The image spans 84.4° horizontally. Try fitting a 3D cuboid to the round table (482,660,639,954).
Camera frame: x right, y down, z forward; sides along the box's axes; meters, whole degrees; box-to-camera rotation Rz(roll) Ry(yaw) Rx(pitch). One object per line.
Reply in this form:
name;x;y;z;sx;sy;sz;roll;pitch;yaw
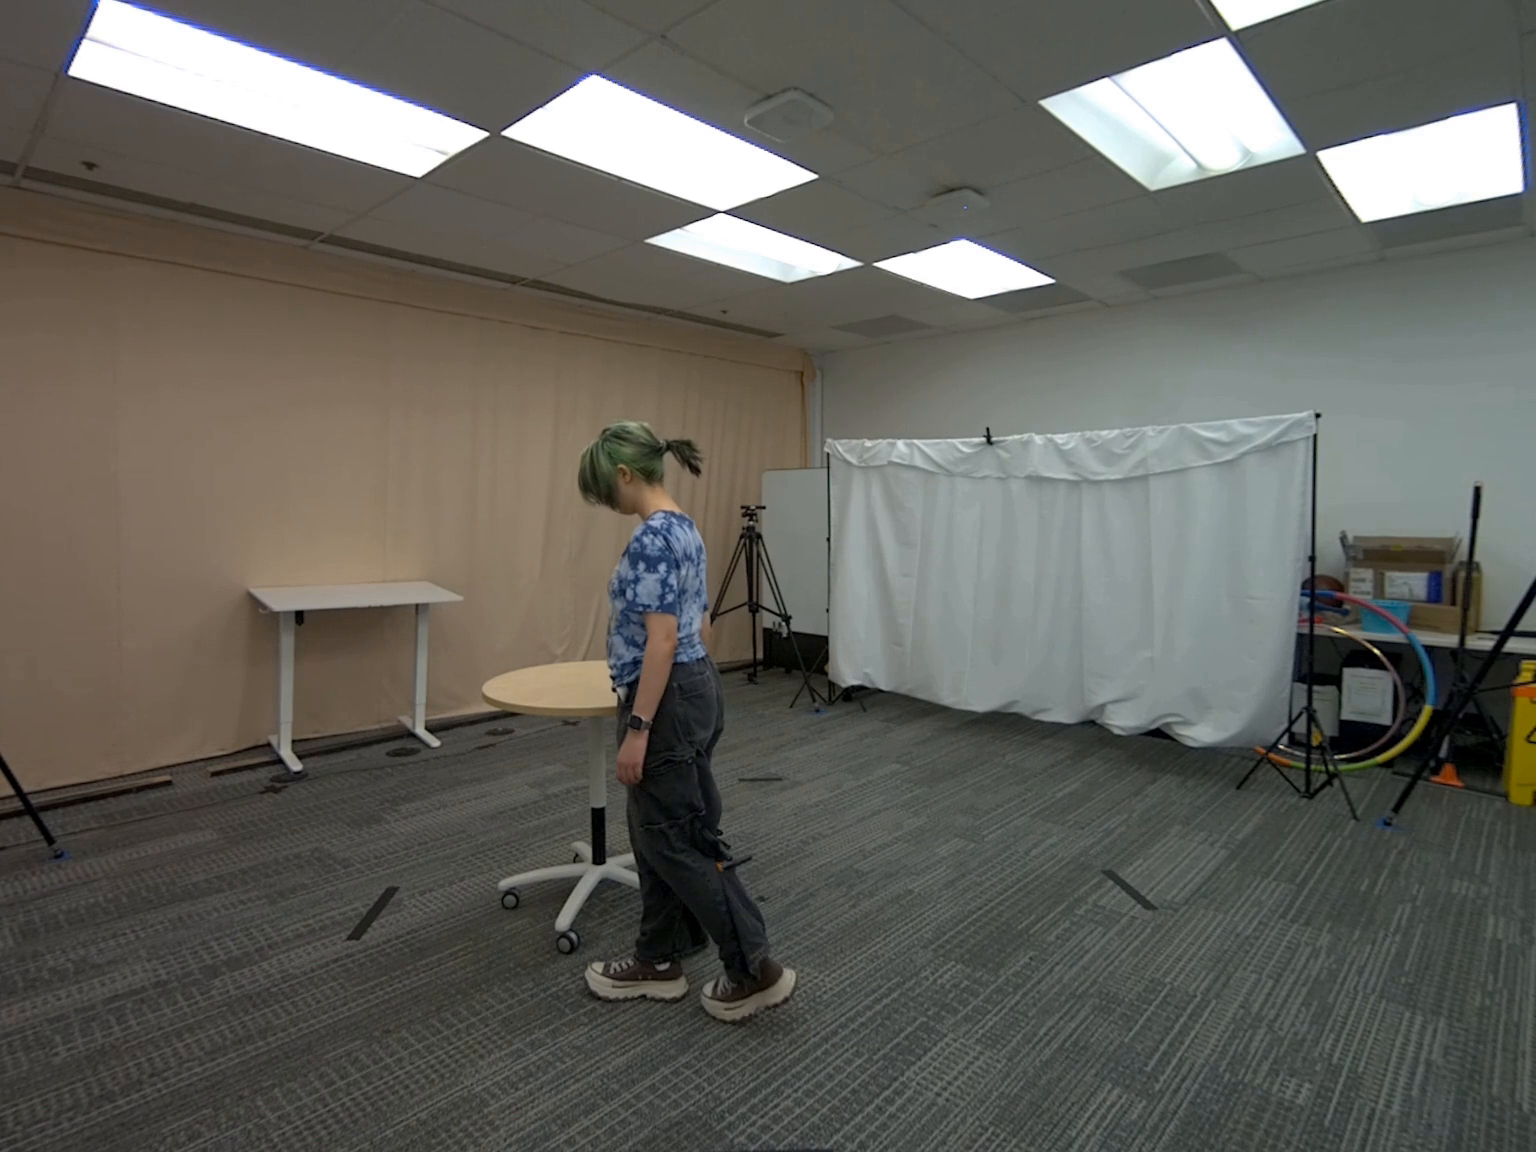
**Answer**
round table;-0.597;0.764;2.947;0.763;0.792;0.766;-1;3;-2
